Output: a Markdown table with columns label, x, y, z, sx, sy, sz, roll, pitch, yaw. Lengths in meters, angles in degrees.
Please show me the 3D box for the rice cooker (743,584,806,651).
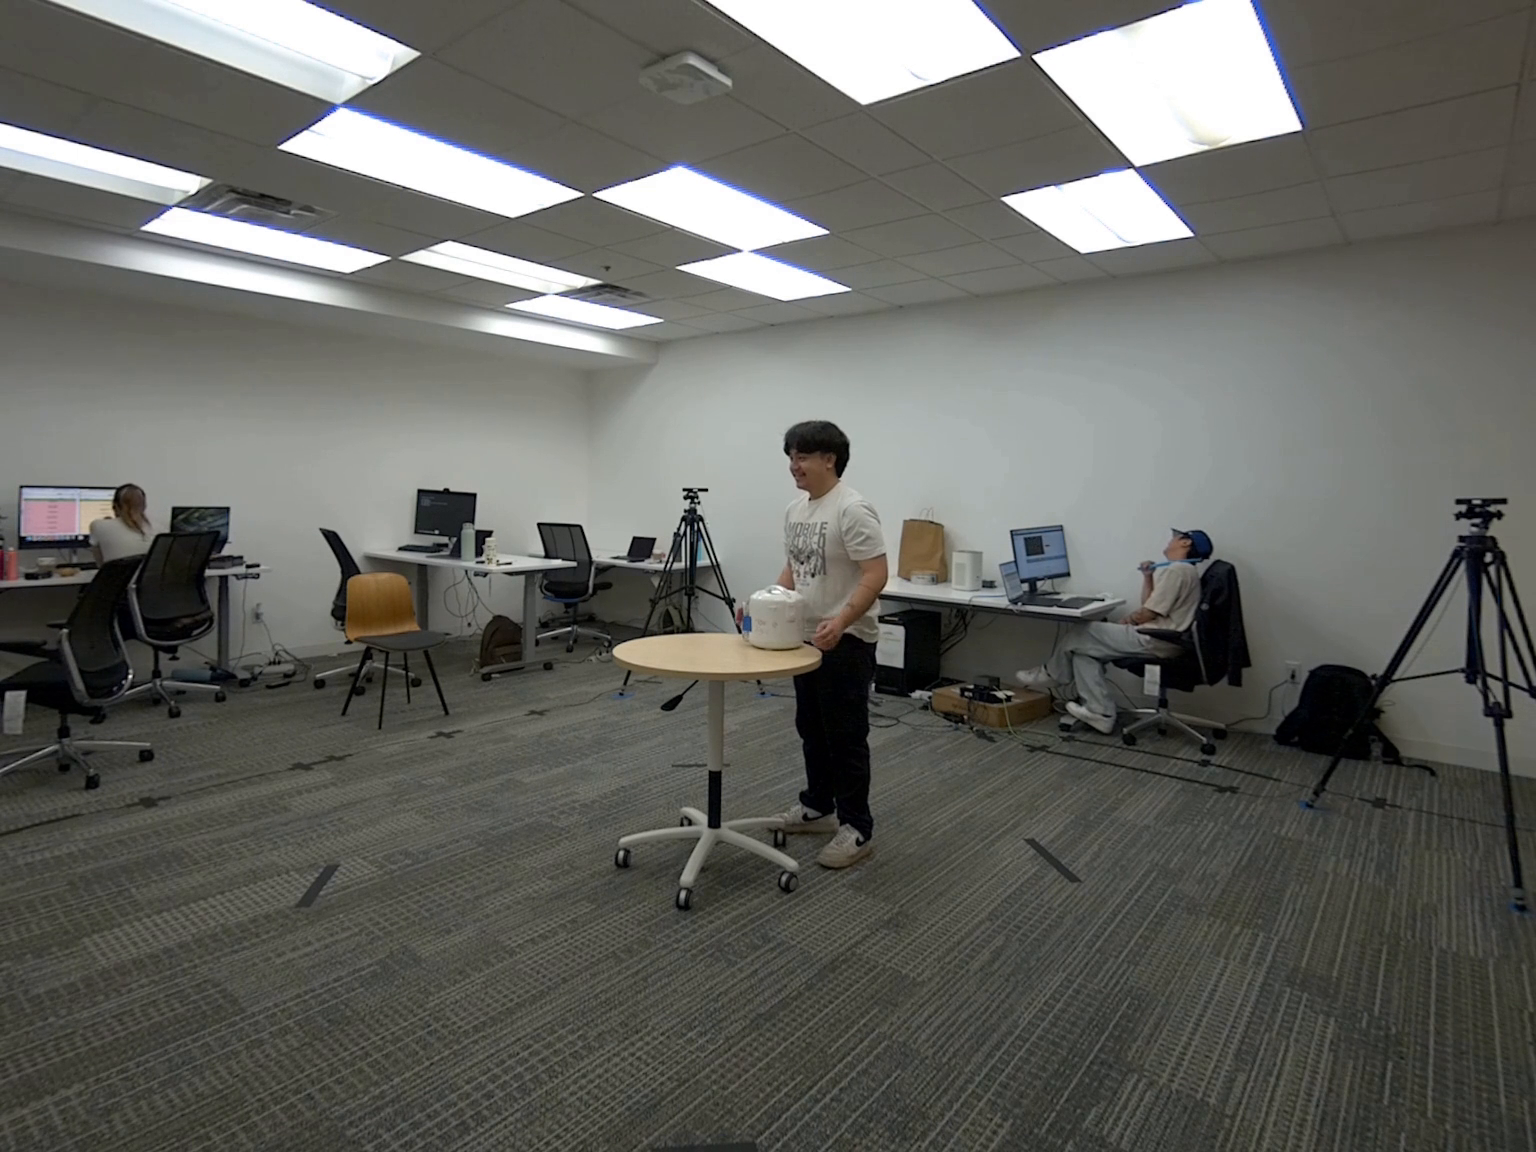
| label | x | y | z | sx | sy | sz | roll | pitch | yaw |
| --- | --- | --- | --- | --- | --- | --- | --- | --- | --- |
| rice cooker | 0.024 | 0.150 | 3.230 | 0.212 | 0.232 | 0.227 | -2 | 6 | -28 |
